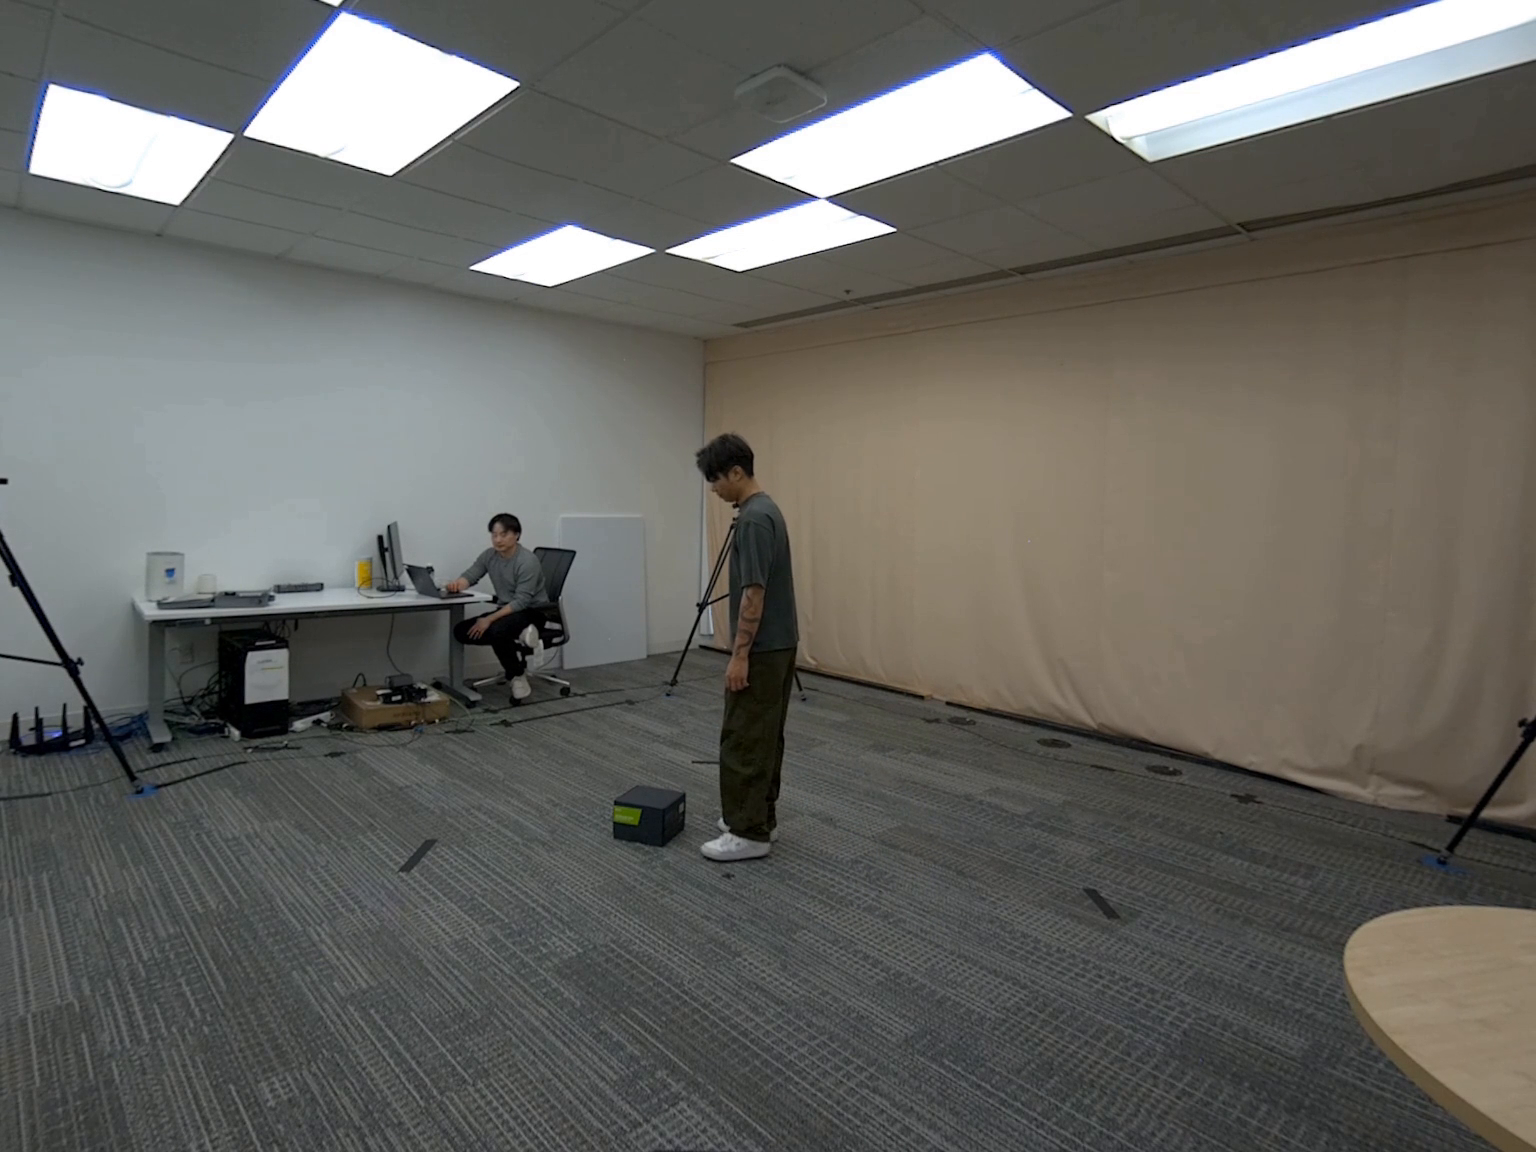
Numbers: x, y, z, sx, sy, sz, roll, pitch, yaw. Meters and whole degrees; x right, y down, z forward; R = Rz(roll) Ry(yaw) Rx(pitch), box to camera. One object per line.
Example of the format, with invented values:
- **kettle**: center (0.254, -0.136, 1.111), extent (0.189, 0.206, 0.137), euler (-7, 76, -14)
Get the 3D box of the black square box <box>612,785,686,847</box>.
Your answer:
- **black square box**: center (-0.494, 0.973, 3.476), extent (0.231, 0.155, 0.214), euler (3, 4, 20)
